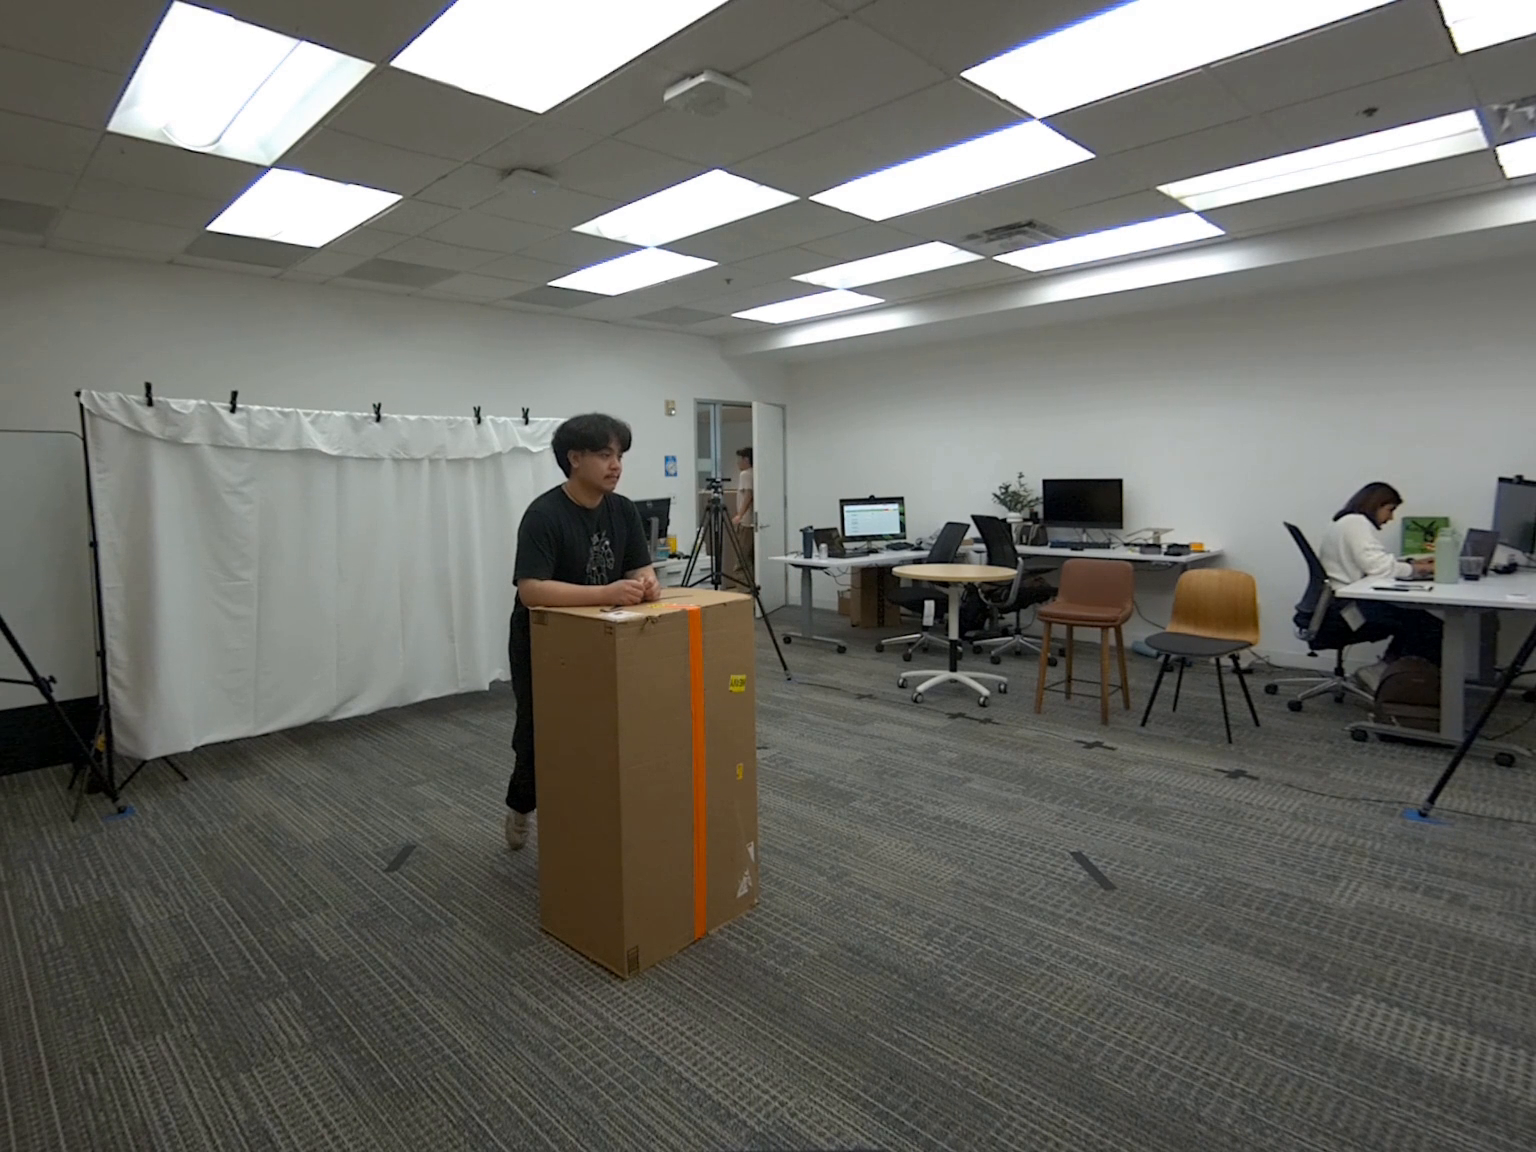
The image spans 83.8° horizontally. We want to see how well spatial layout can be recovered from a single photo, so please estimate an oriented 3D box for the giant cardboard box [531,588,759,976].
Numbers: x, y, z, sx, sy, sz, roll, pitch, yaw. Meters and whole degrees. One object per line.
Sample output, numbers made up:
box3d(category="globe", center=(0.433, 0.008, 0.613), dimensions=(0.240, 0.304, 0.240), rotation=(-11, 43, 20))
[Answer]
box3d(category="giant cardboard box", center=(-0.376, 0.586, 2.705), dimensions=(0.461, 1.022, 0.569), rotation=(4, 7, 43))
